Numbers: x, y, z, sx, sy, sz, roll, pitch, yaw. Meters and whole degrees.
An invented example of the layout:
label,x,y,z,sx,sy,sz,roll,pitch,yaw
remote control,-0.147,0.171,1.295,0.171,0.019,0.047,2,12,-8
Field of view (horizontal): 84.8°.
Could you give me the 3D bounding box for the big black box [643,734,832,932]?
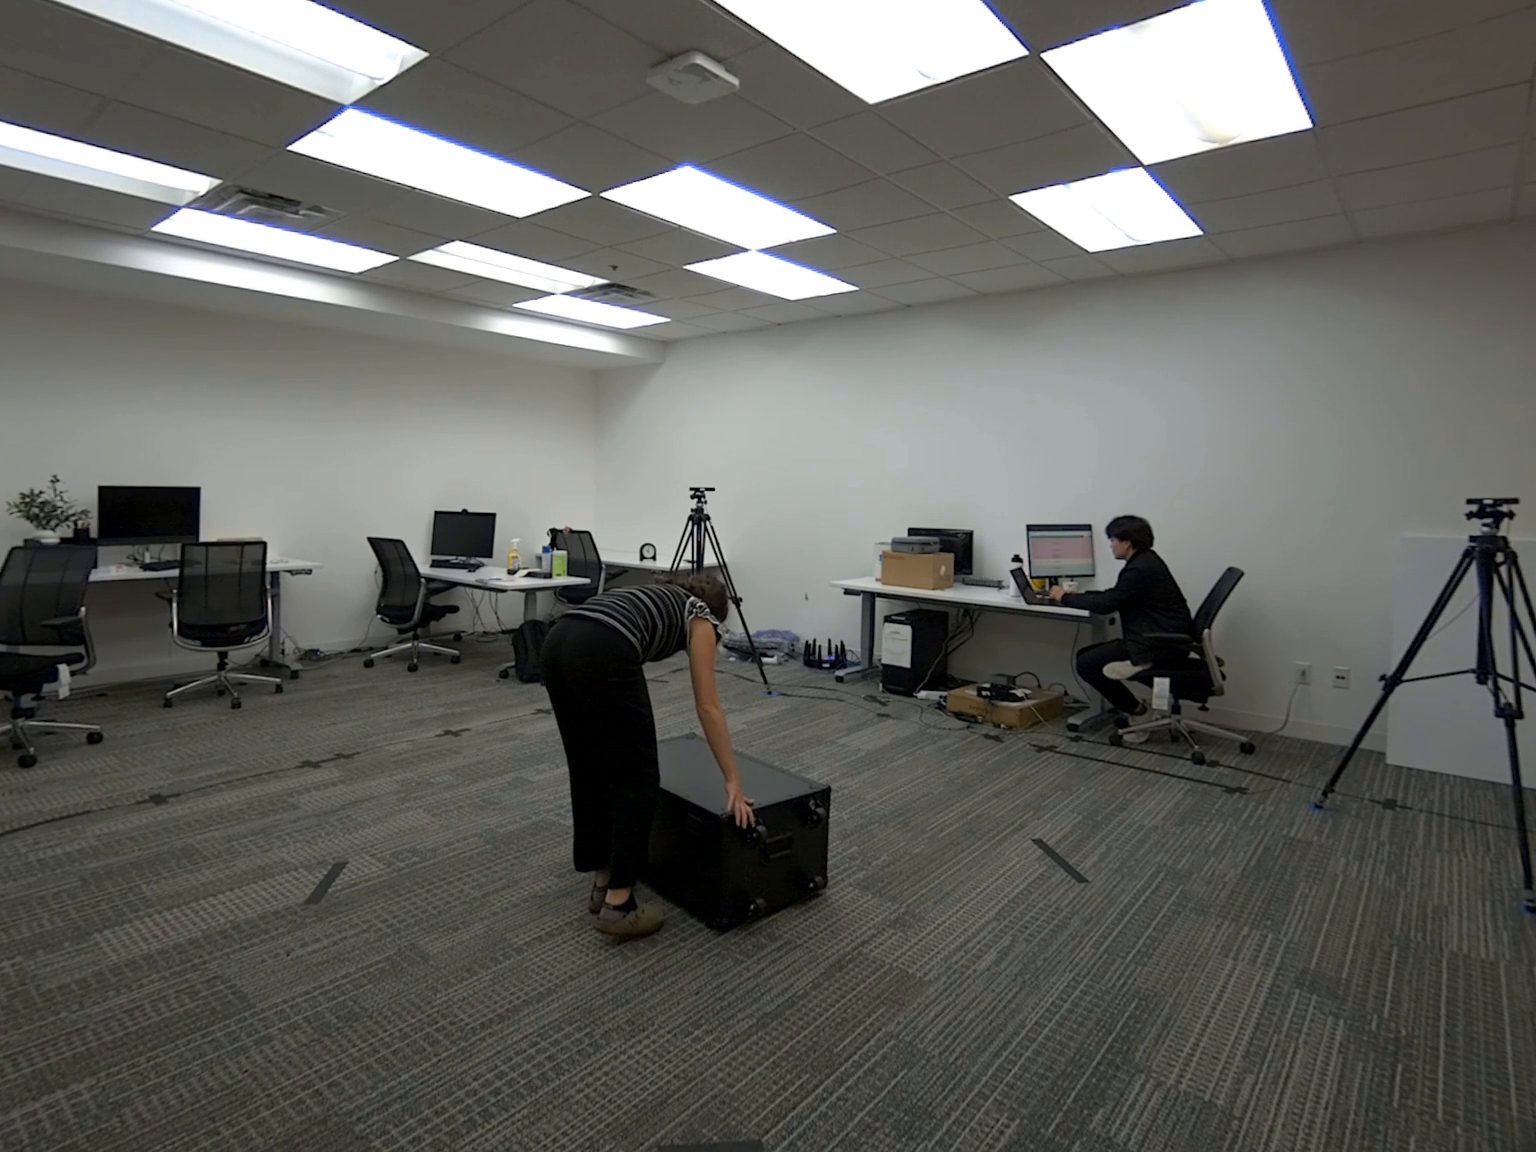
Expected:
label,x,y,z,sx,sy,sz,roll,pitch,yaw
big black box,-0.218,0.879,3.047,0.505,0.395,0.890,-3,6,-41
